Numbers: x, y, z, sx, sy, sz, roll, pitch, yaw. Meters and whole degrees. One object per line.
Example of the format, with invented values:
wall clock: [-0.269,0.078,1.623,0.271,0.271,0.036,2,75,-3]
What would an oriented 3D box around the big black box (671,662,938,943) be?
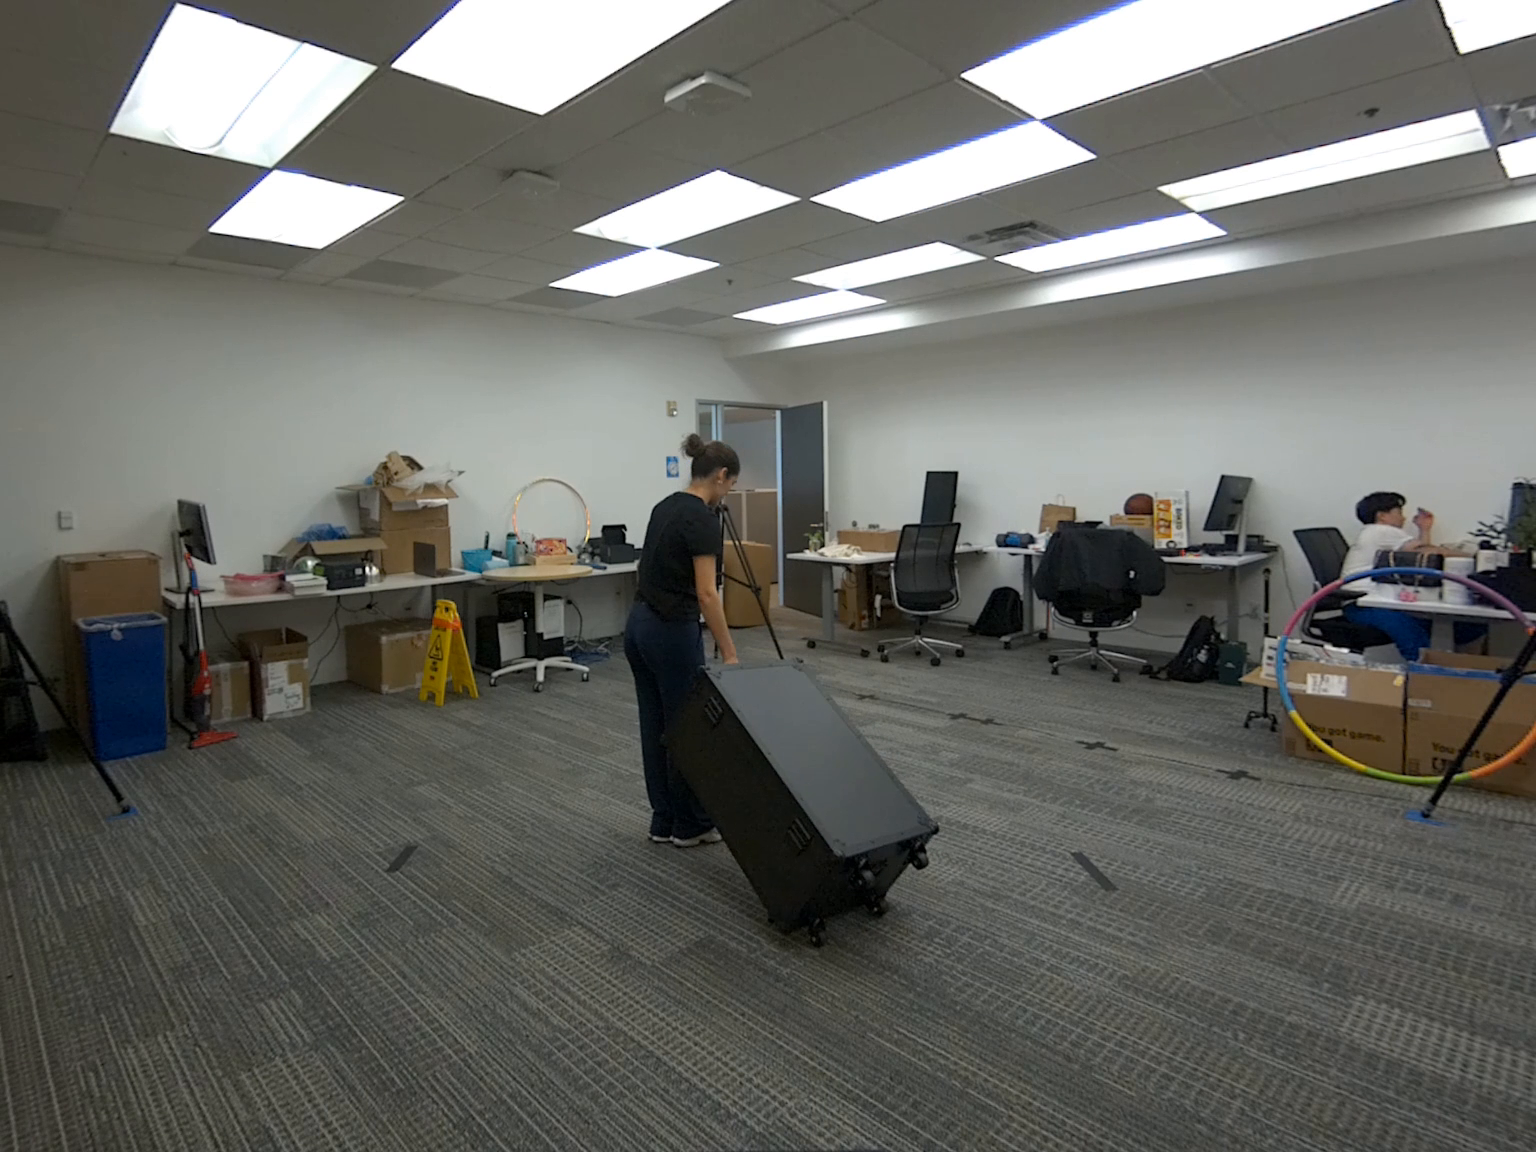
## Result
big black box: [0.067,0.674,2.880,0.505,0.393,0.895,2,36,-42]
